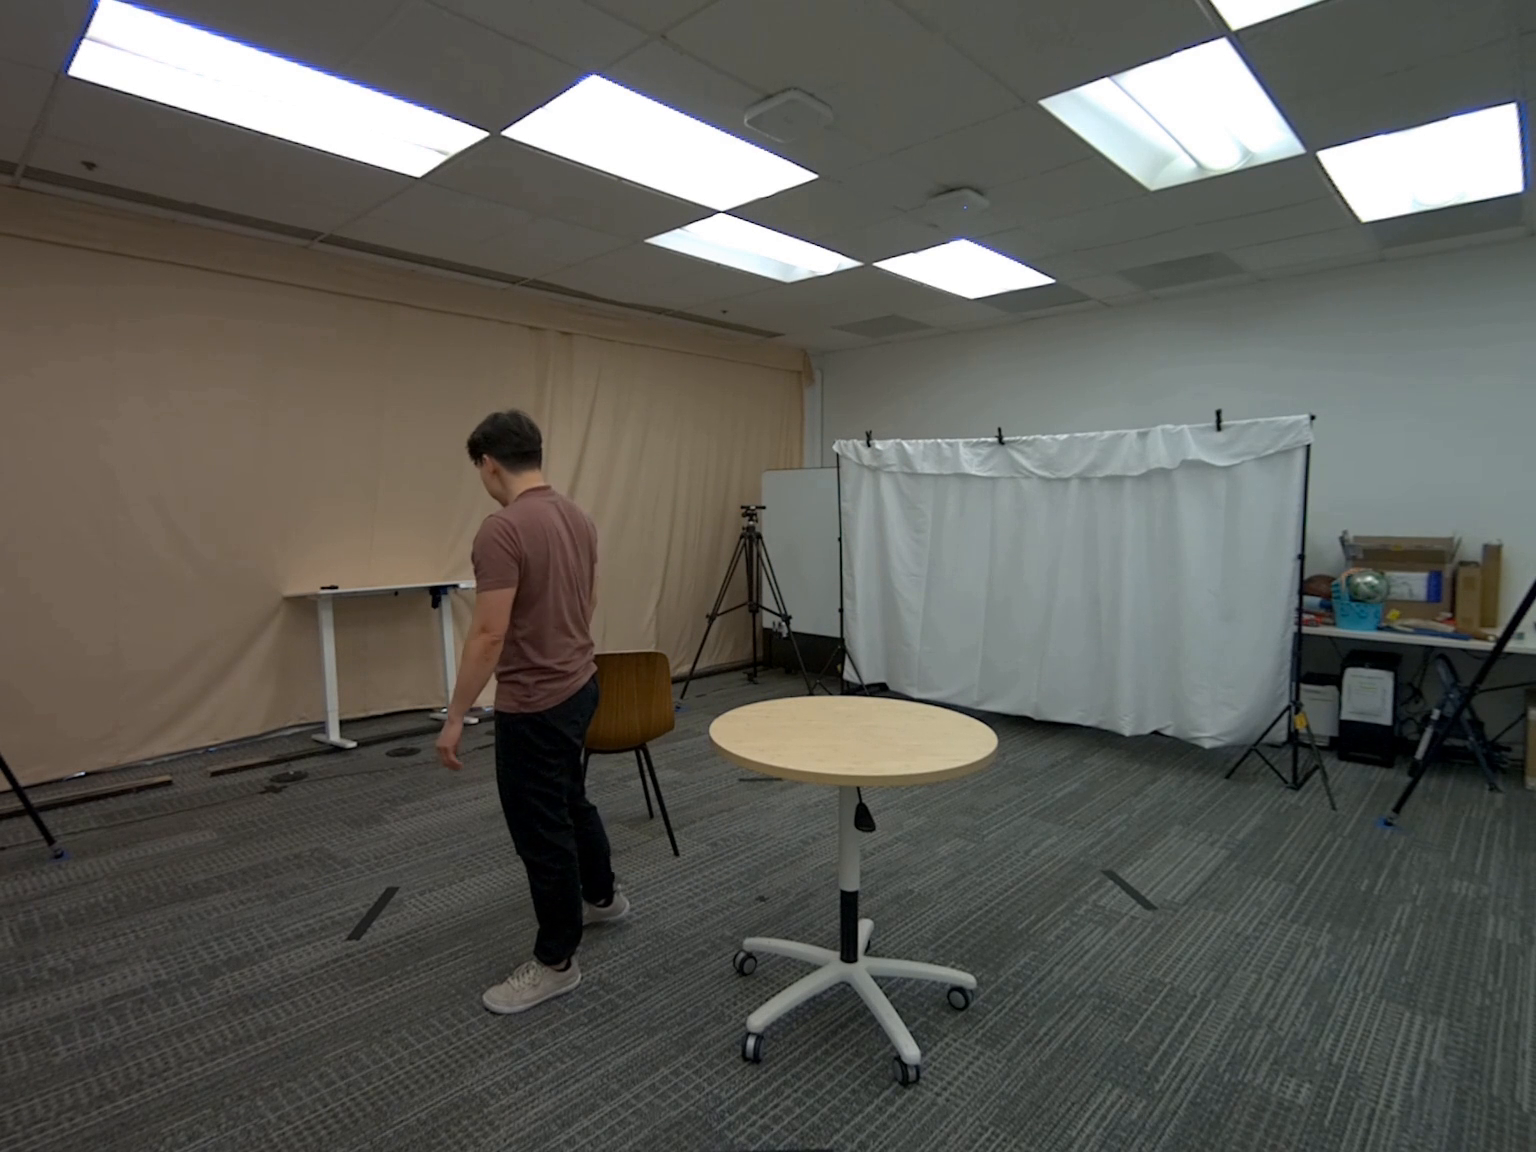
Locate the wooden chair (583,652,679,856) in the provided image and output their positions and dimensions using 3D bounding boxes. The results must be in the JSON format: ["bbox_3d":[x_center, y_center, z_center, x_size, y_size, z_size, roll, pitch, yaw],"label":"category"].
[{"bbox_3d":[-0.647,0.683,3.479,0.469,0.874,0.536,-2,7,-20],"label":"wooden chair"}]
